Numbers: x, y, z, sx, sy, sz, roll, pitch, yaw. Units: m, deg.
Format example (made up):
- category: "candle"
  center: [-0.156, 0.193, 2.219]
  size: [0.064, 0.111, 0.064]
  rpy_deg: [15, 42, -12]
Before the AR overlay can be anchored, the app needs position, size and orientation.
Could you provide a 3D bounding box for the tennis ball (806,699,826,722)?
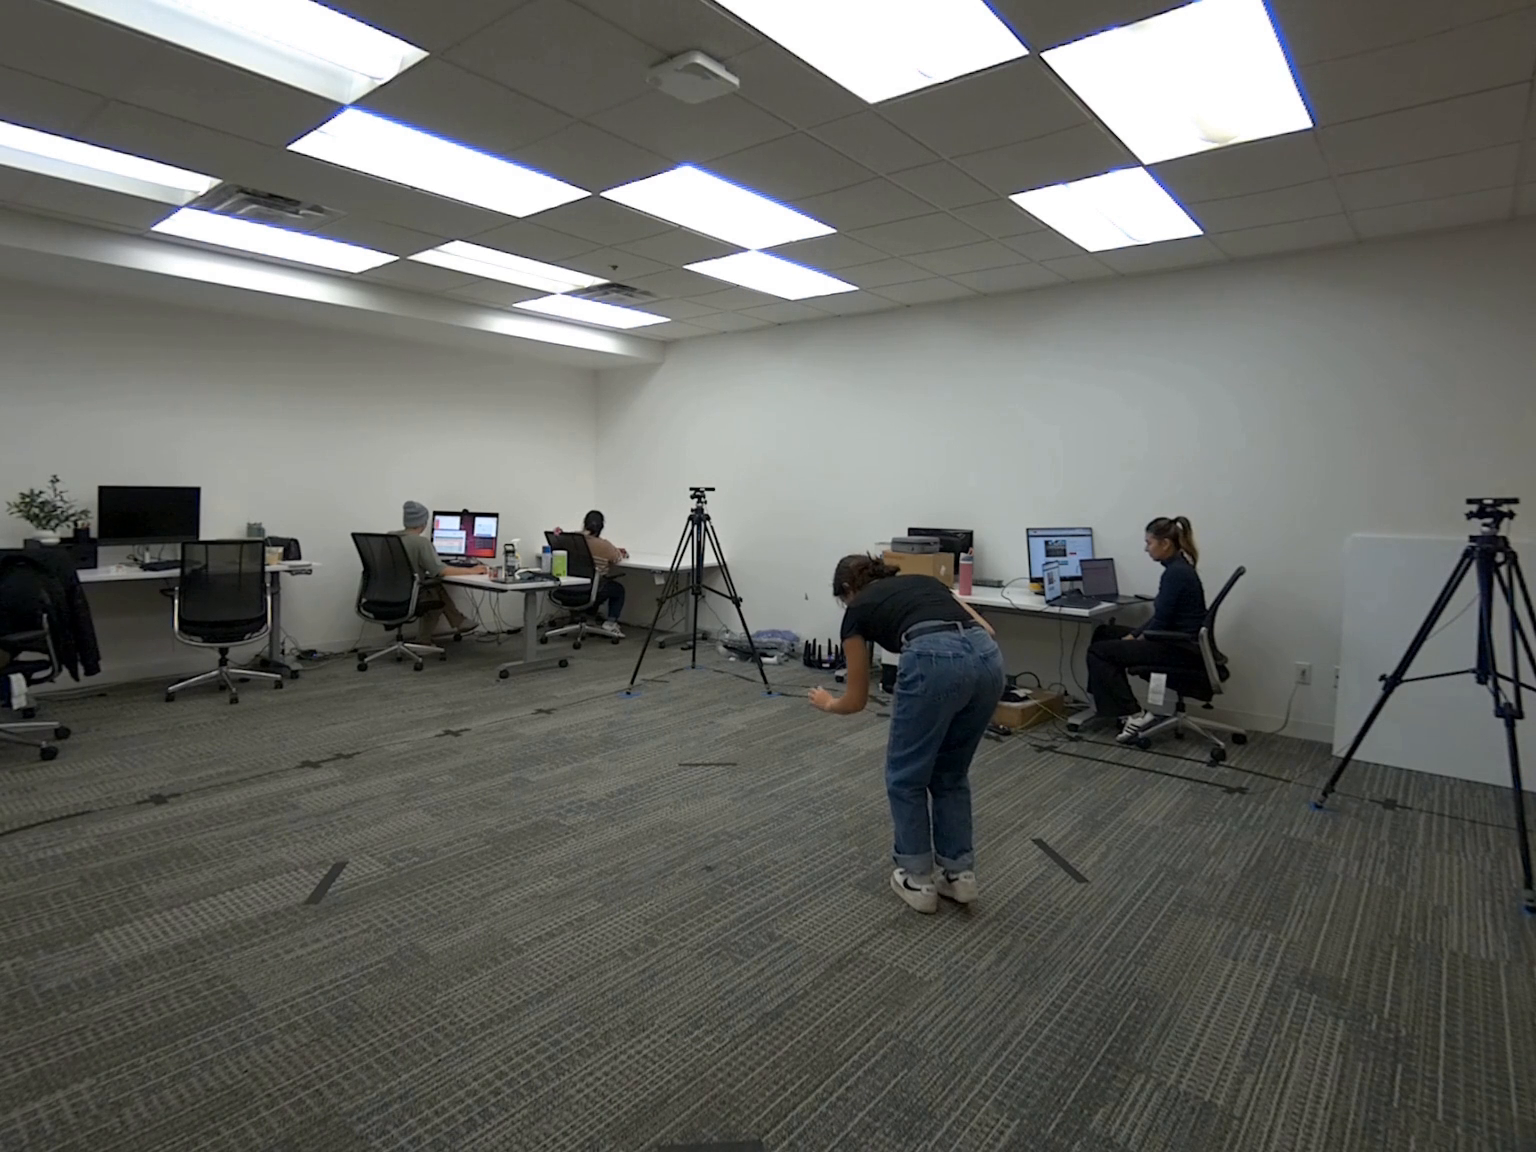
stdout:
- category: "tennis ball"
  center: [0.189, 0.528, 3.313]
  size: [0.066, 0.066, 0.067]
  rpy_deg: [1, 4, -2]
